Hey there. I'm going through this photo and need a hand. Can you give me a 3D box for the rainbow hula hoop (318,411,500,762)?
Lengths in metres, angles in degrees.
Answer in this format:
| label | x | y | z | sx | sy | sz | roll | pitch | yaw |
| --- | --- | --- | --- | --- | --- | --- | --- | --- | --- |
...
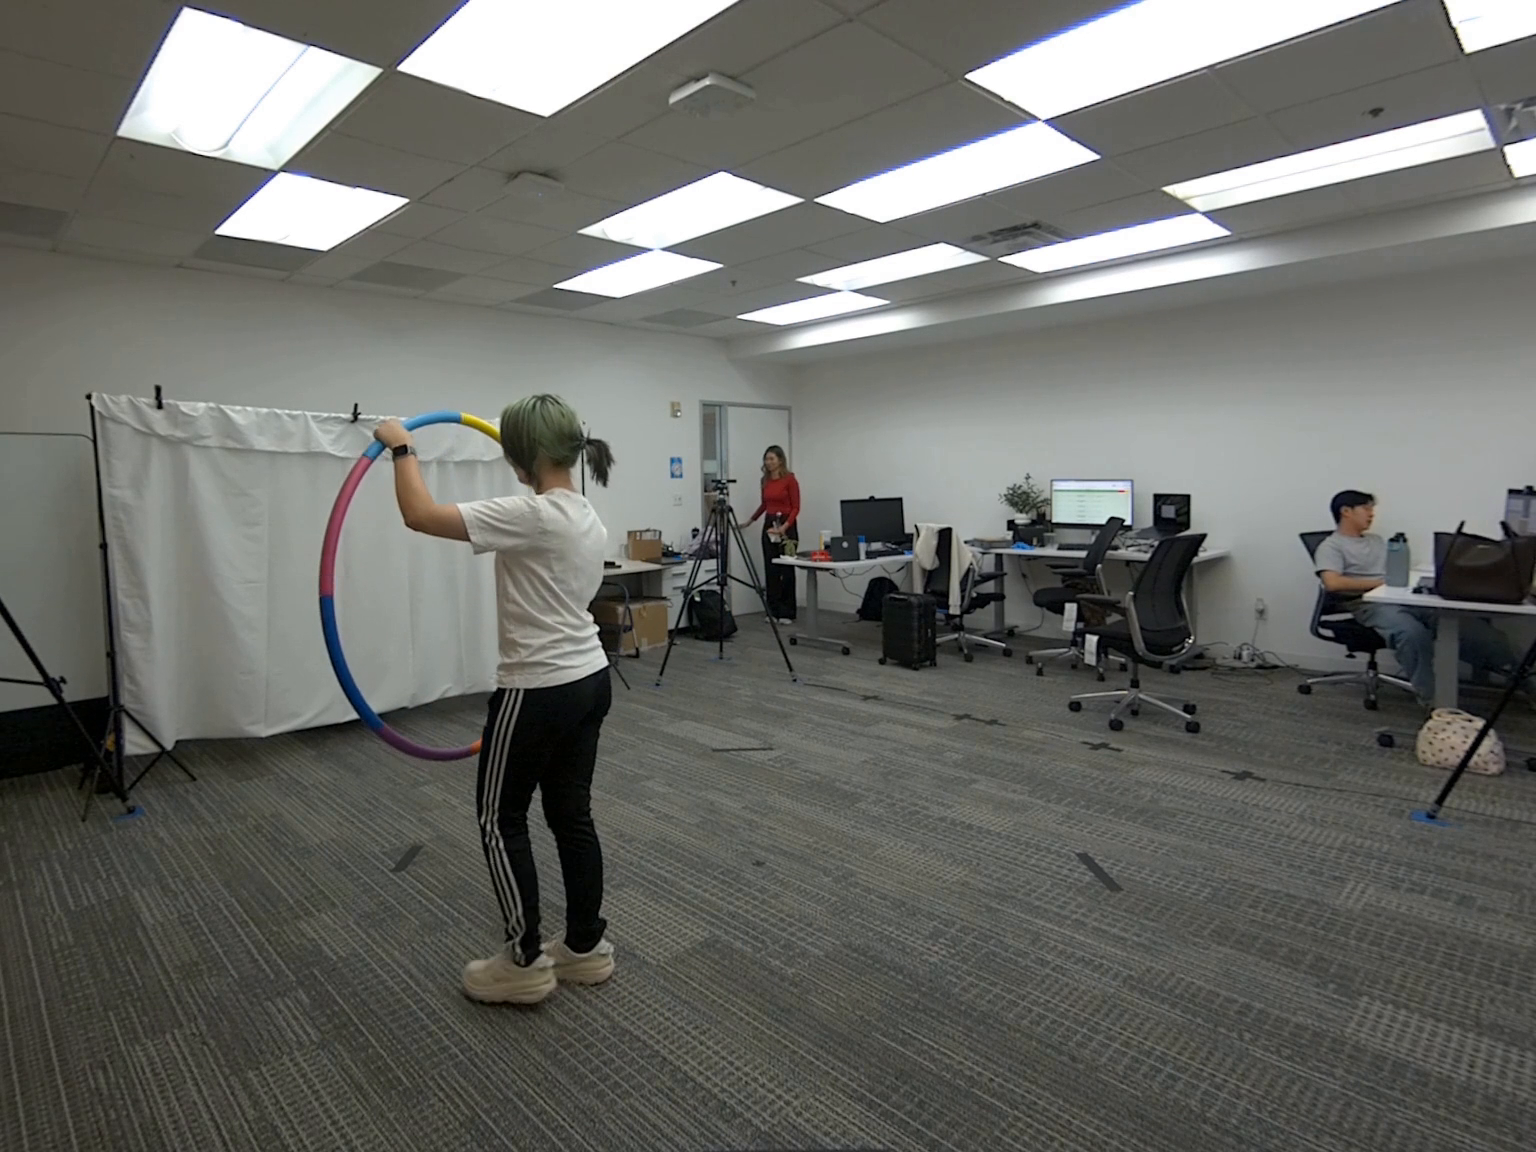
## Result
| label | x | y | z | sx | sy | sz | roll | pitch | yaw |
| --- | --- | --- | --- | --- | --- | --- | --- | --- | --- |
| rainbow hula hoop | -0.868 | 0.026 | 2.471 | 0.036 | 0.976 | 0.962 | -2 | 4 | 22 |
